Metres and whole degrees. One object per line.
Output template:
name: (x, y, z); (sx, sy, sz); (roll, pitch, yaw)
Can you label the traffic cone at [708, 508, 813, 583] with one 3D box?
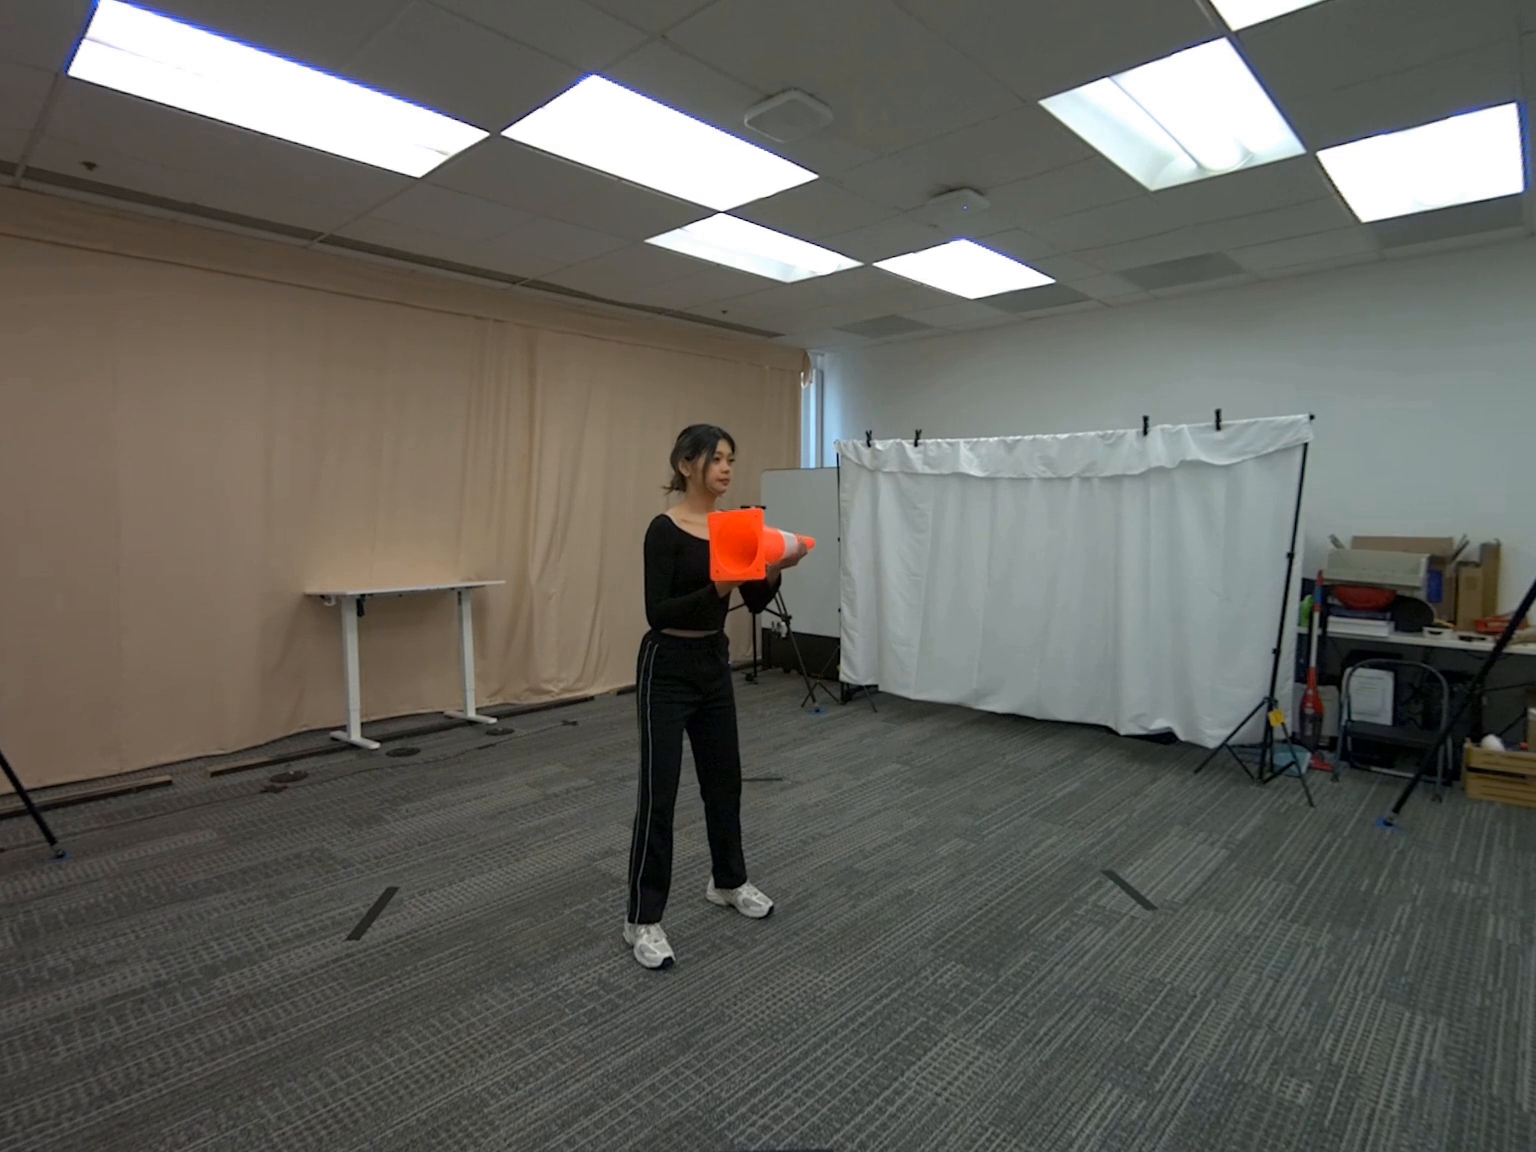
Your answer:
traffic cone: (0.018, -0.092, 2.536); (0.209, 0.205, 0.372); (-5, 0, 40)
